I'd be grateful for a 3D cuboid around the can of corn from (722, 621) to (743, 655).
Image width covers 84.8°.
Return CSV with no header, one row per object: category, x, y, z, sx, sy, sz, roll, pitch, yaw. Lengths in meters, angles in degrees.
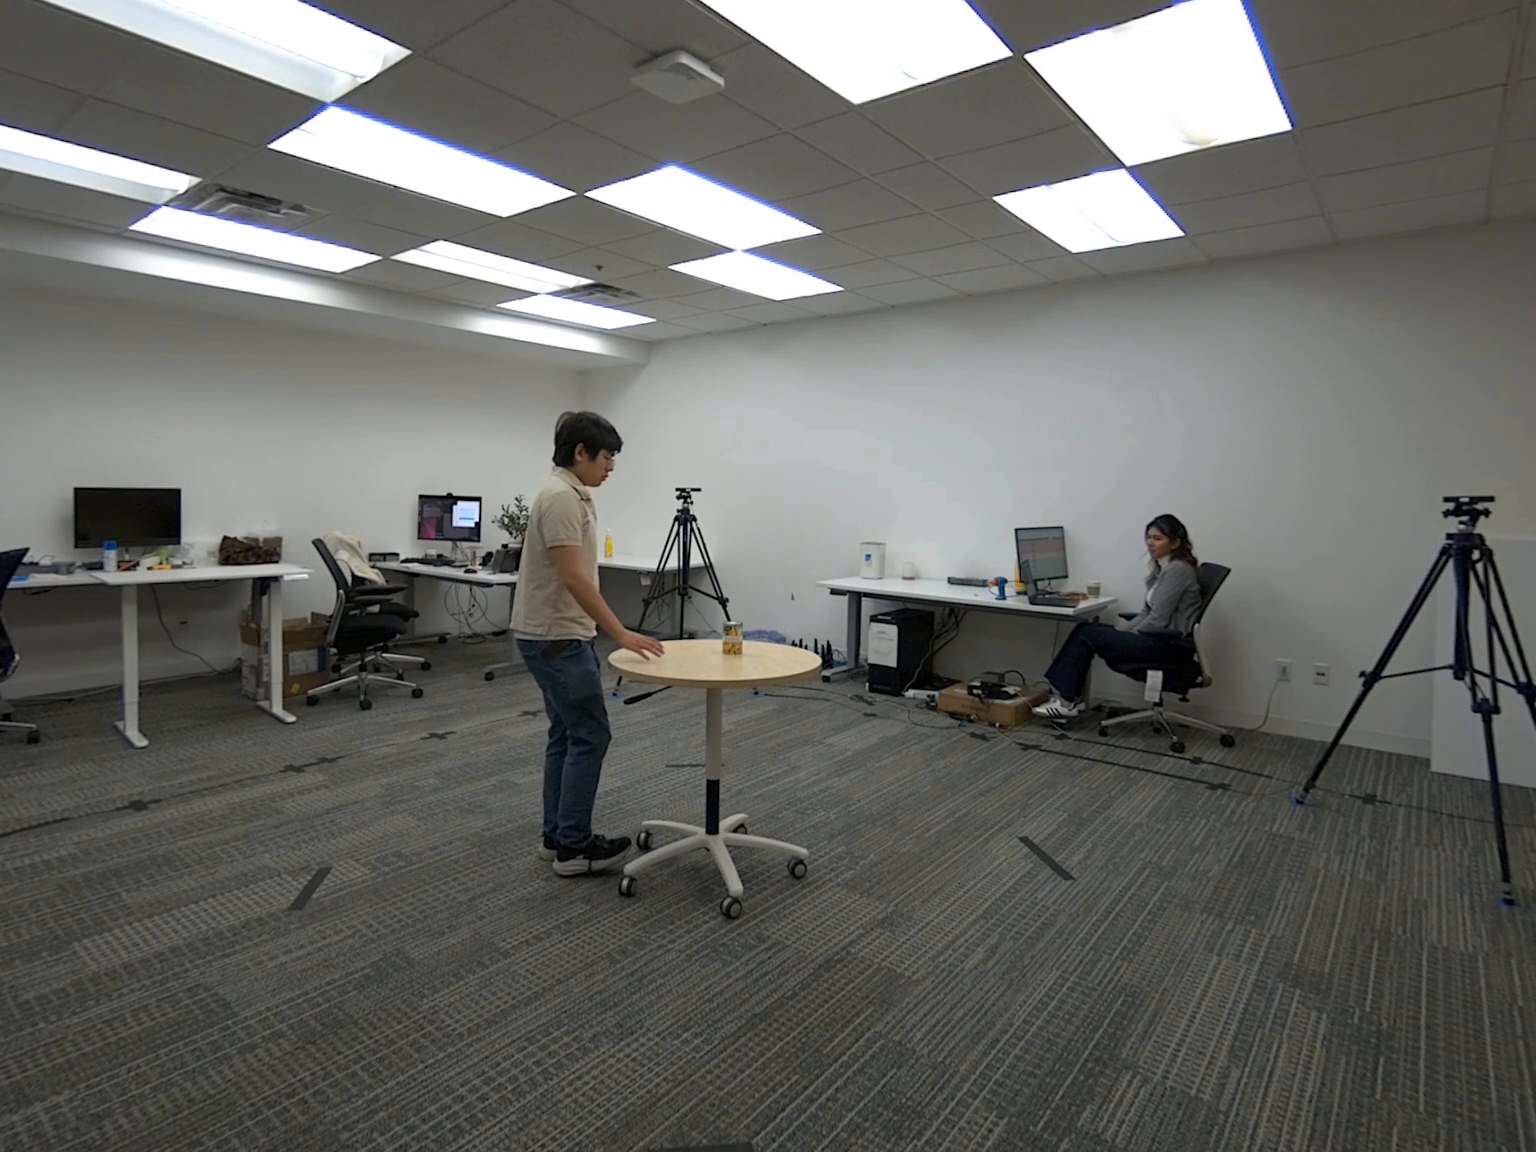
can of corn,-0.147,0.232,3.146,0.074,0.110,0.075,0,6,-2
